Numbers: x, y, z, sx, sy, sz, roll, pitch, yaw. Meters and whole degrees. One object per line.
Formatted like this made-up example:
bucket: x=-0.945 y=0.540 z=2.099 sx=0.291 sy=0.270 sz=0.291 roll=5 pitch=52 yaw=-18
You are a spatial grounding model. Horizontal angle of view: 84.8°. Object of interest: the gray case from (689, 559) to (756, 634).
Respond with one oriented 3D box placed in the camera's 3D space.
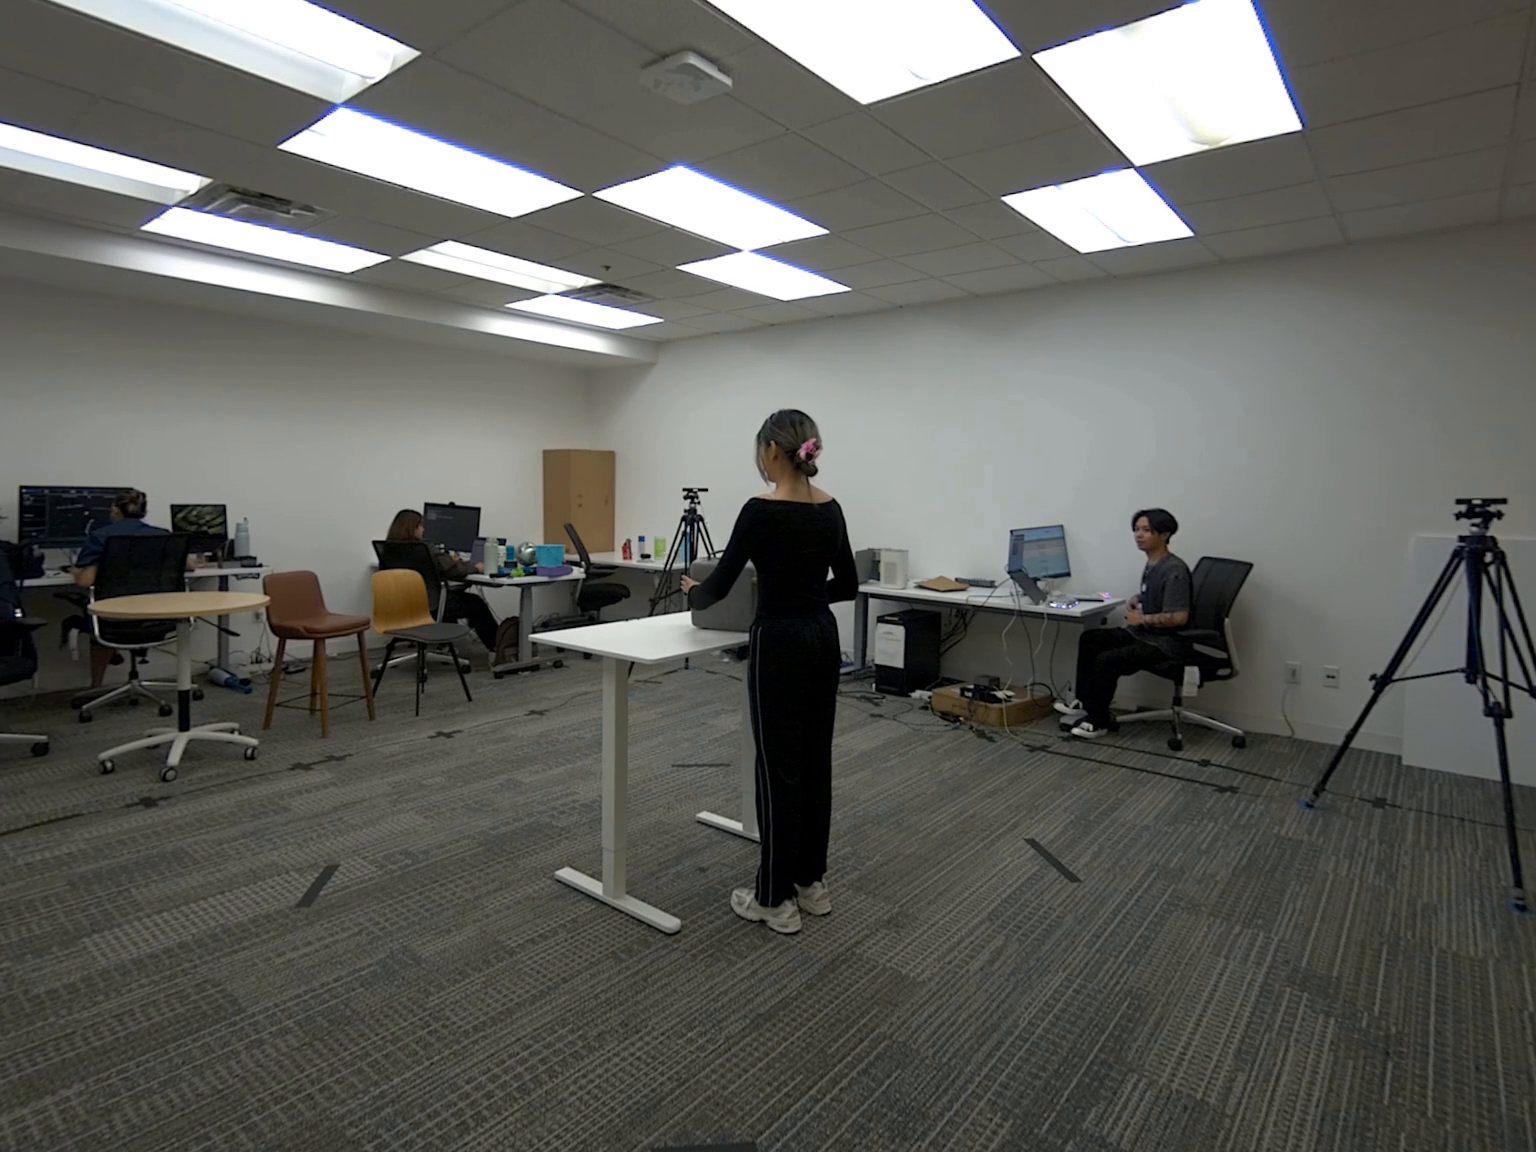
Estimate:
gray case: x=-0.160 y=0.062 z=3.054 sx=0.262 sy=0.258 sz=0.103 roll=3 pitch=11 yaw=17
